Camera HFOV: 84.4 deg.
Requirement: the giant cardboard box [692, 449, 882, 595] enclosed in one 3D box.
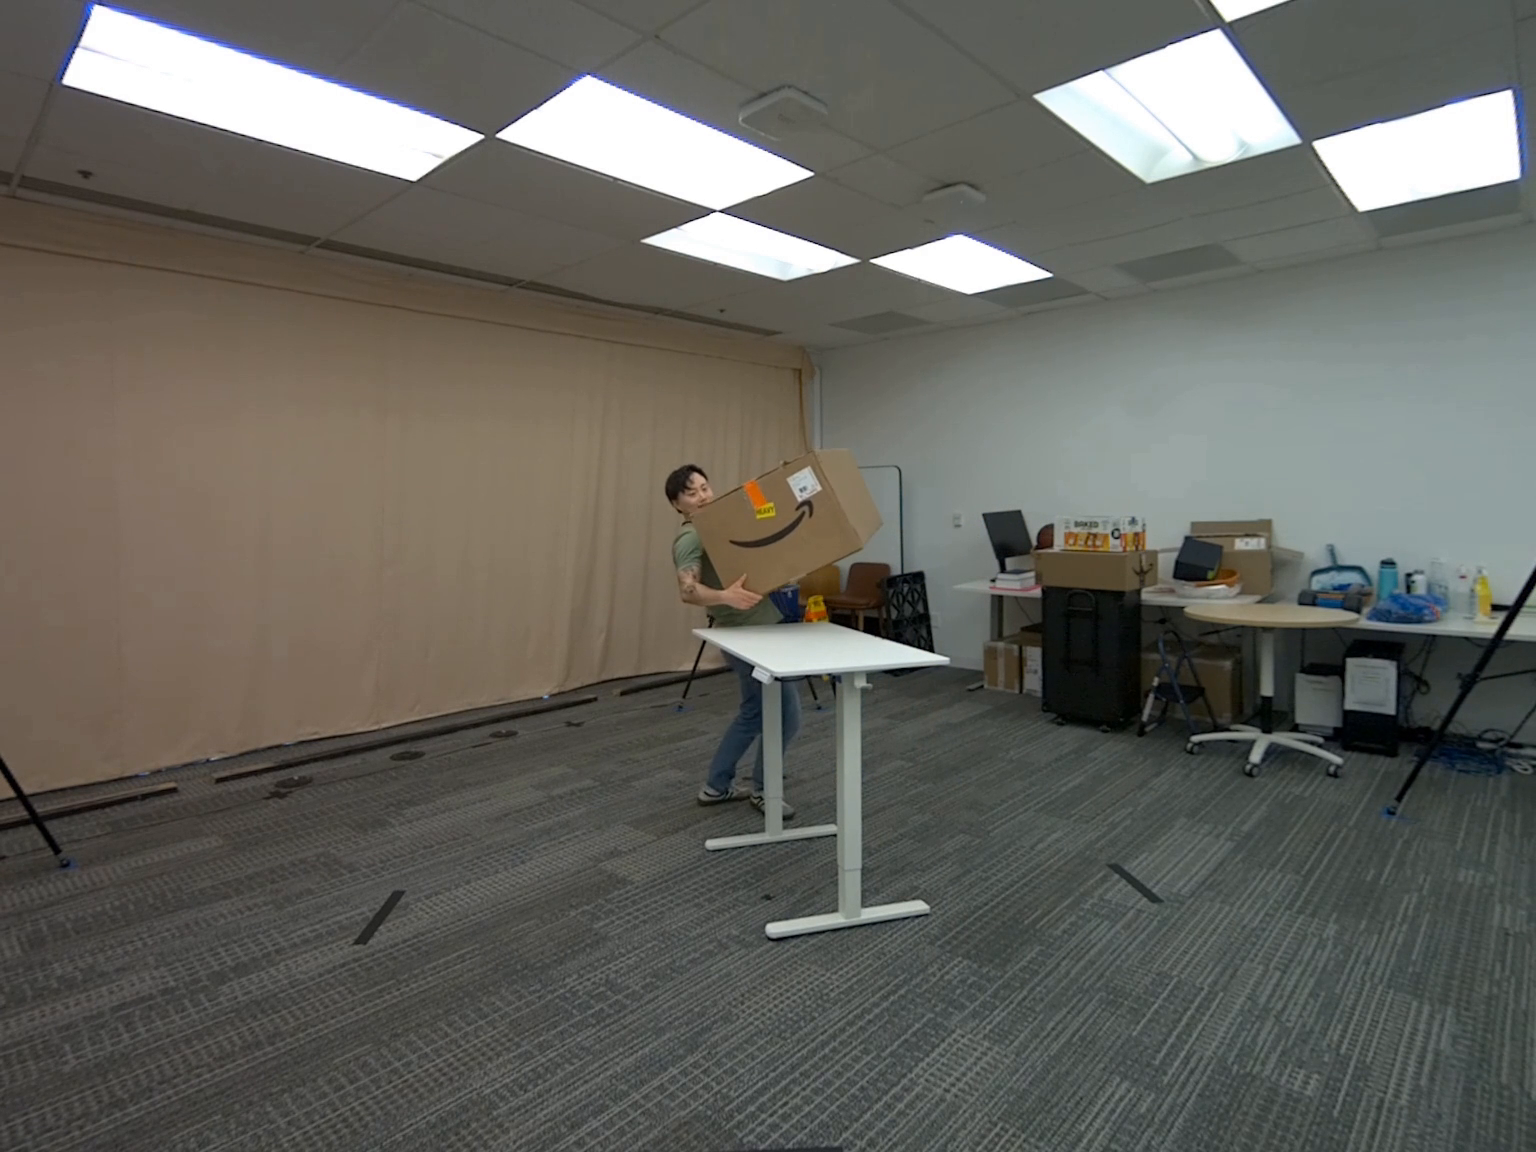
[{"bbox_3d":[0.132,-0.261,3.783,0.584,0.426,1.015,-26,1,16],"label":"giant cardboard box"}]
